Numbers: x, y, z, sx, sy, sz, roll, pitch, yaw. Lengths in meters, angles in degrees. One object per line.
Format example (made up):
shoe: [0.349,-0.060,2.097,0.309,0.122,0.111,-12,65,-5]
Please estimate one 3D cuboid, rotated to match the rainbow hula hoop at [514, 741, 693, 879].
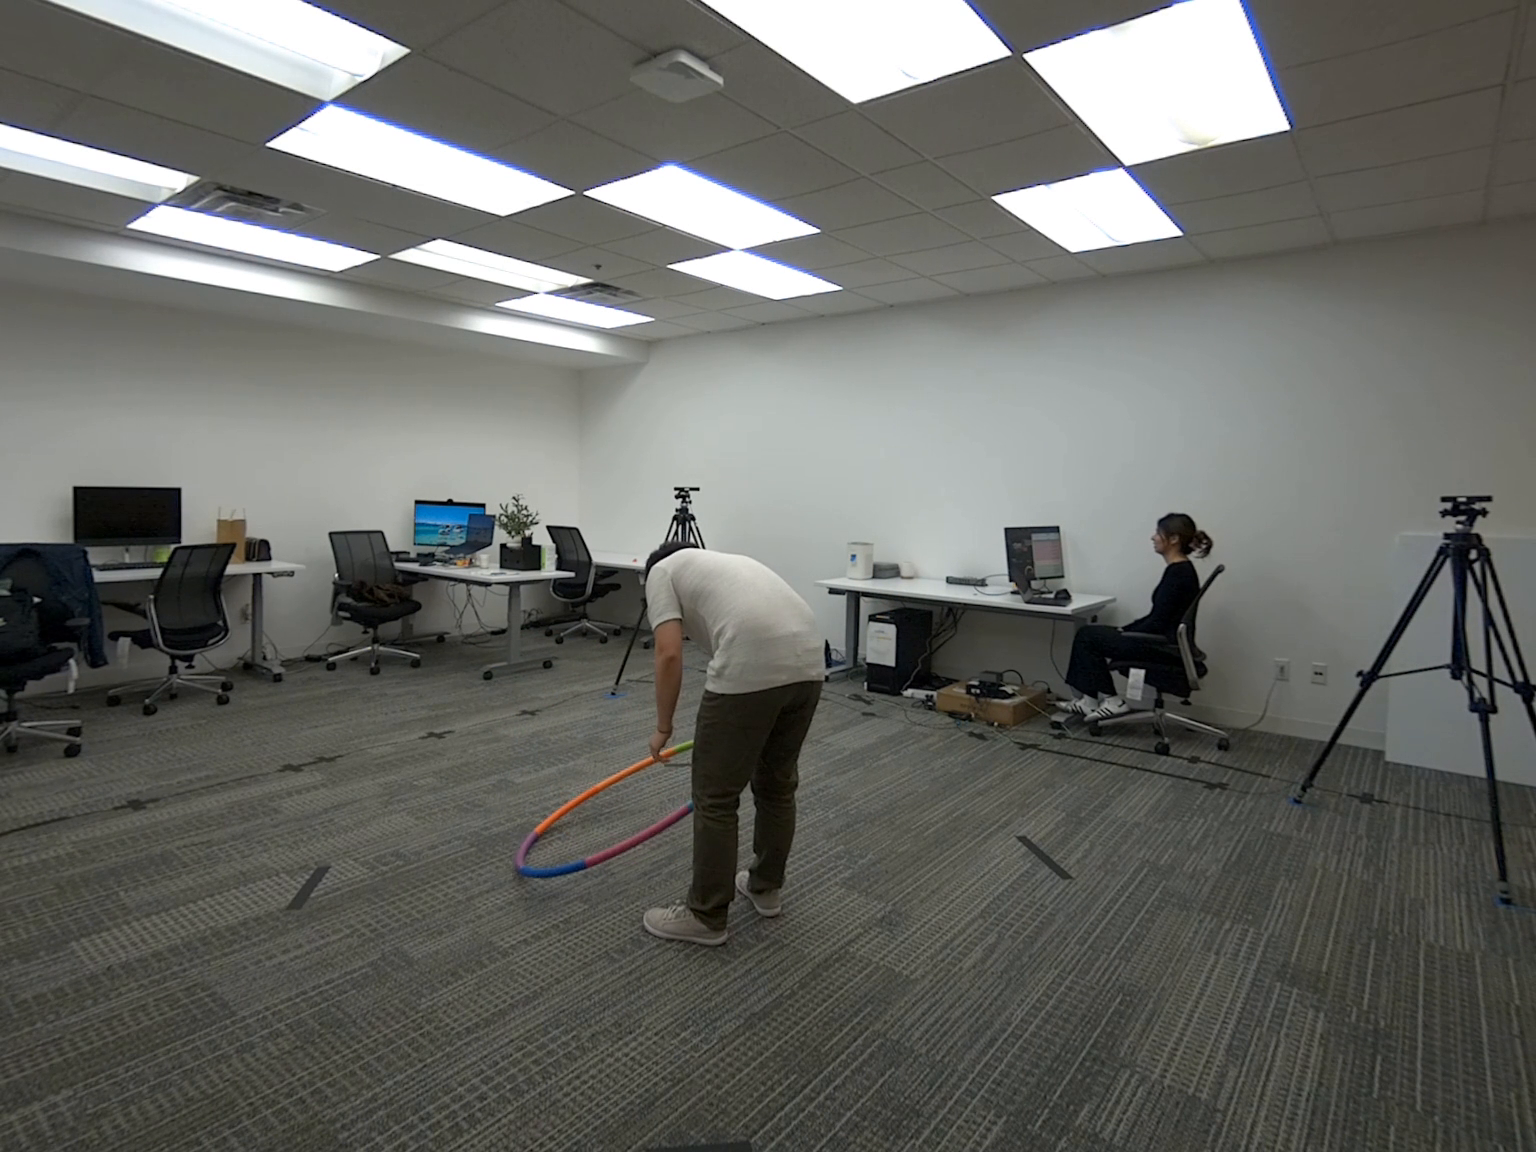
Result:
rainbow hula hoop: [-0.521,0.830,3.204,0.978,0.035,0.981,-25,4,-1]
